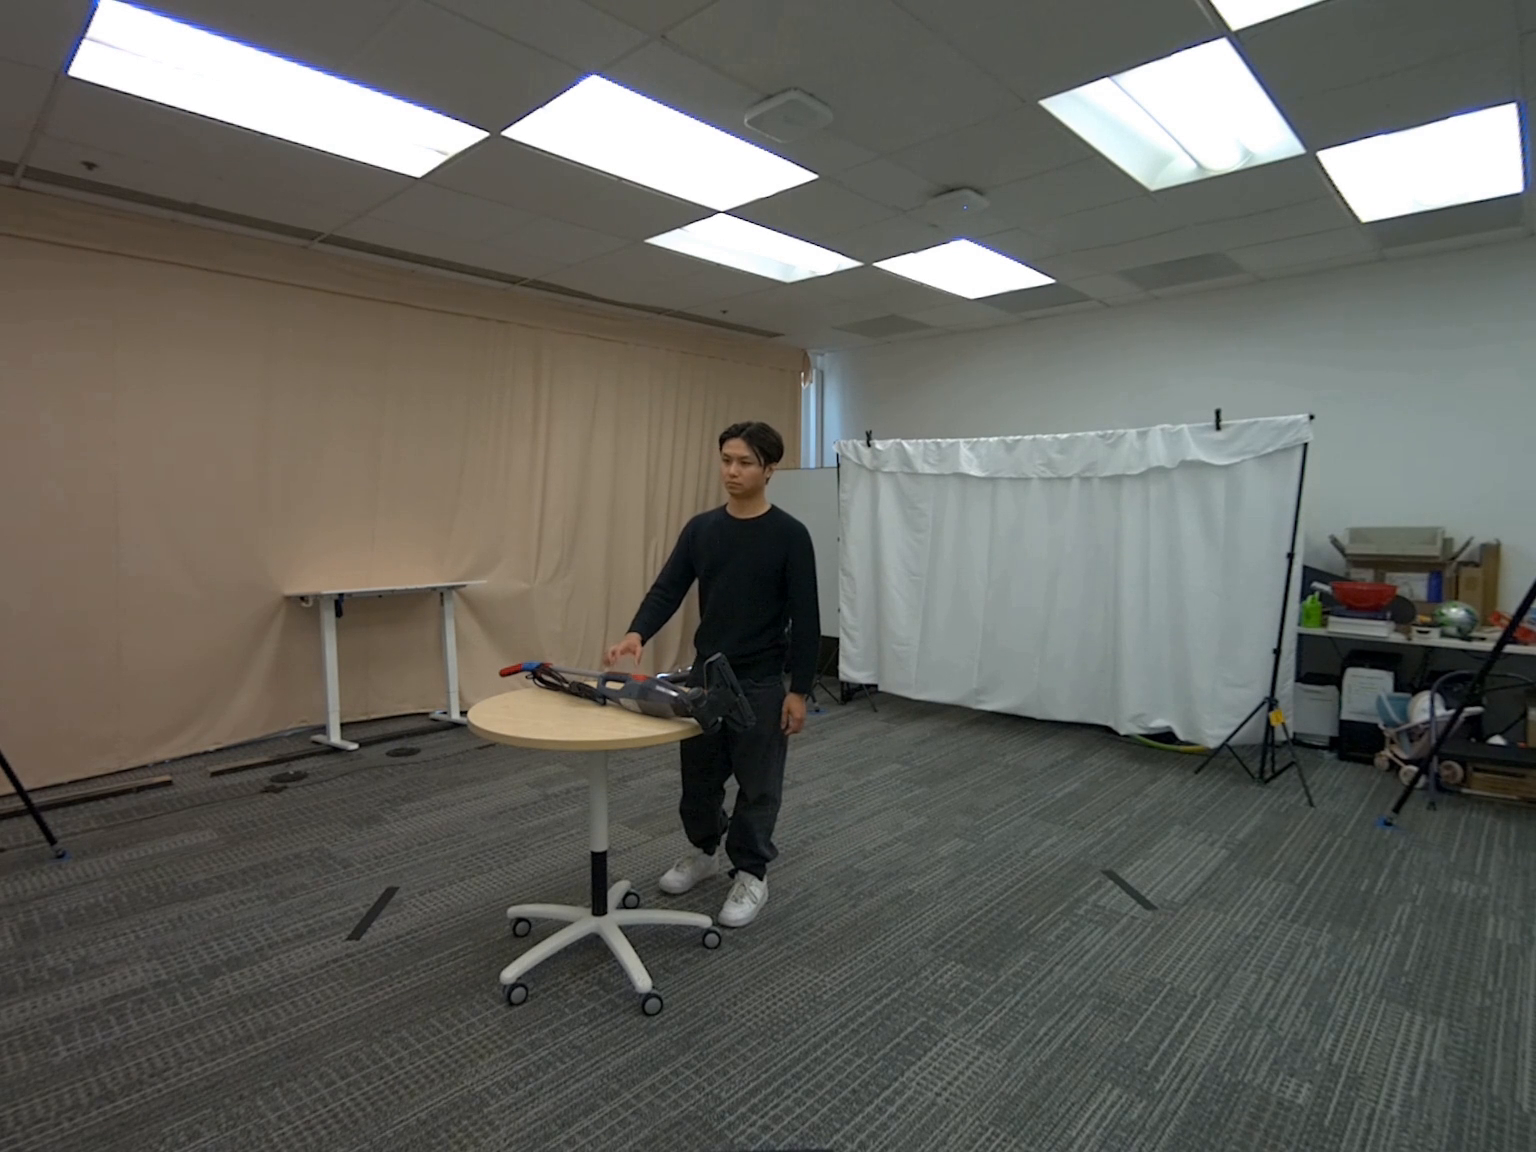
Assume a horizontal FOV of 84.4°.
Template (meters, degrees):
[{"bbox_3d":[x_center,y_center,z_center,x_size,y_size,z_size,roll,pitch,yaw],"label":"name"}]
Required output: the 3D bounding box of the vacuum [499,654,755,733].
[{"bbox_3d":[-0.532,0.351,2.662,1.083,0.246,0.143,0,36,41],"label":"vacuum"}]
